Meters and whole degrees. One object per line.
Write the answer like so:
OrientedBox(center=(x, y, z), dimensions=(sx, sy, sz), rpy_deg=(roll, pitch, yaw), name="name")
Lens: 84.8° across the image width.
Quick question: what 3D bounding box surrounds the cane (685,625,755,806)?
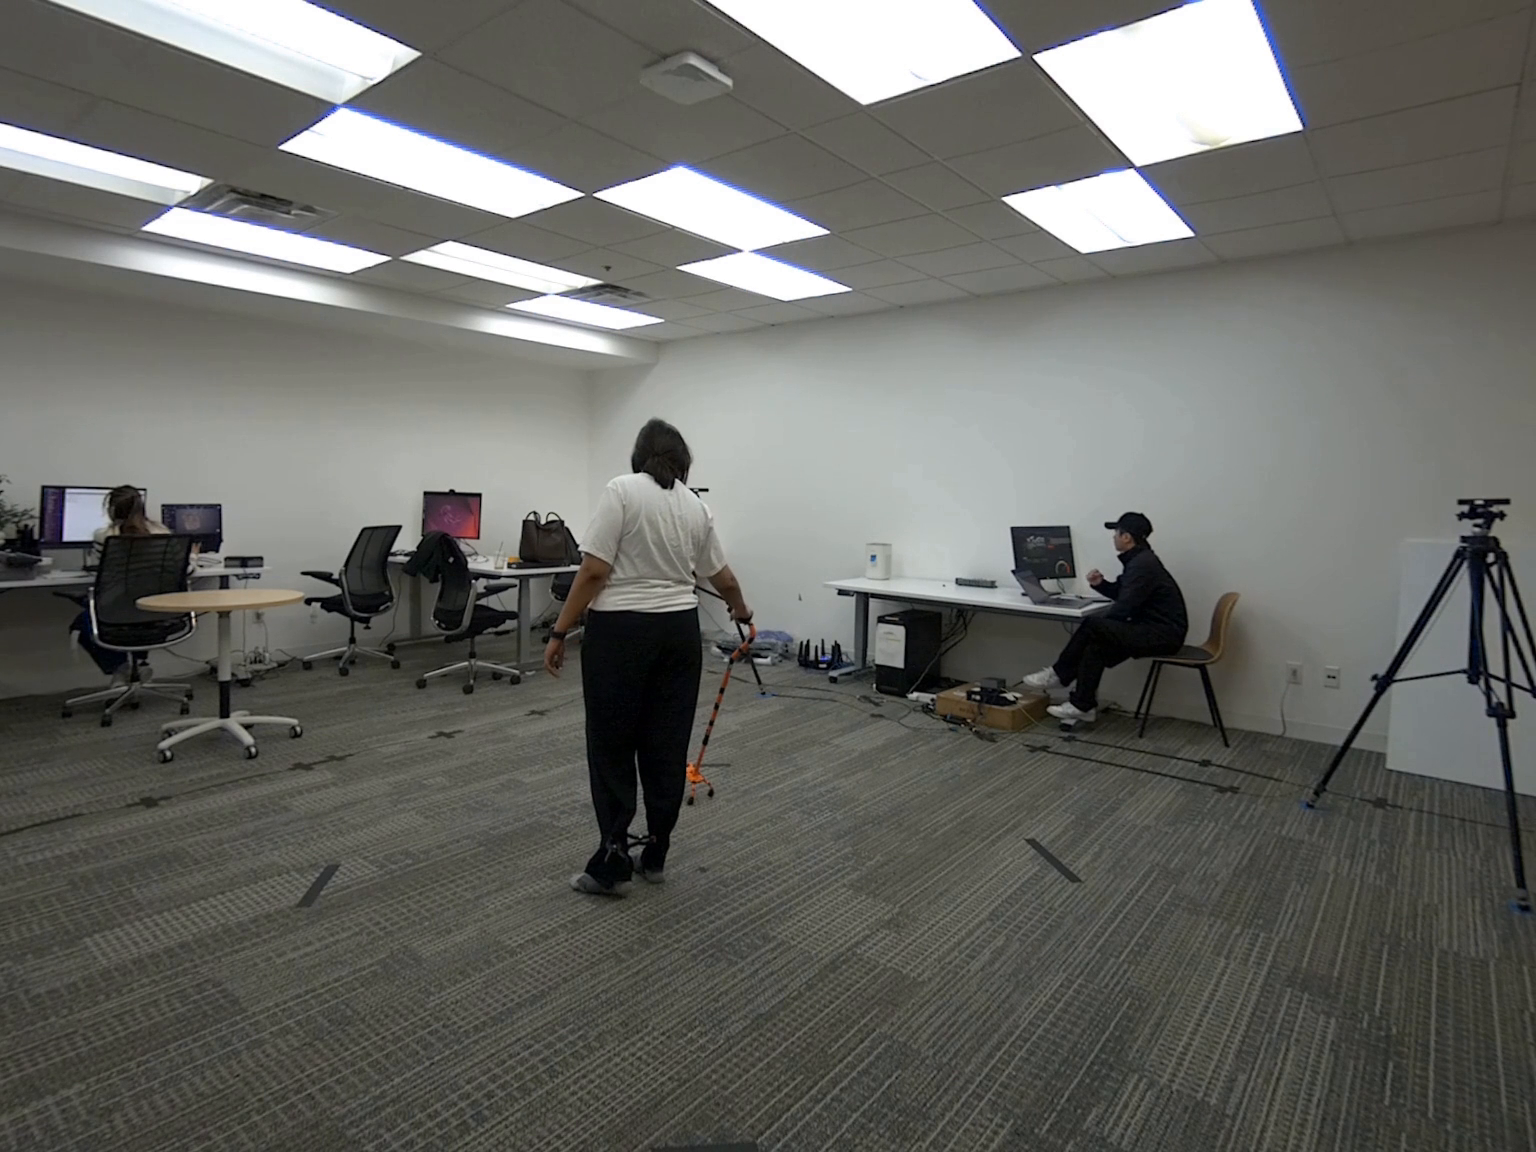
OrientedBox(center=(-0.245, 0.557, 3.672), dimensions=(0.215, 0.897, 0.147), rpy_deg=(34, 26, 34), name="cane")
